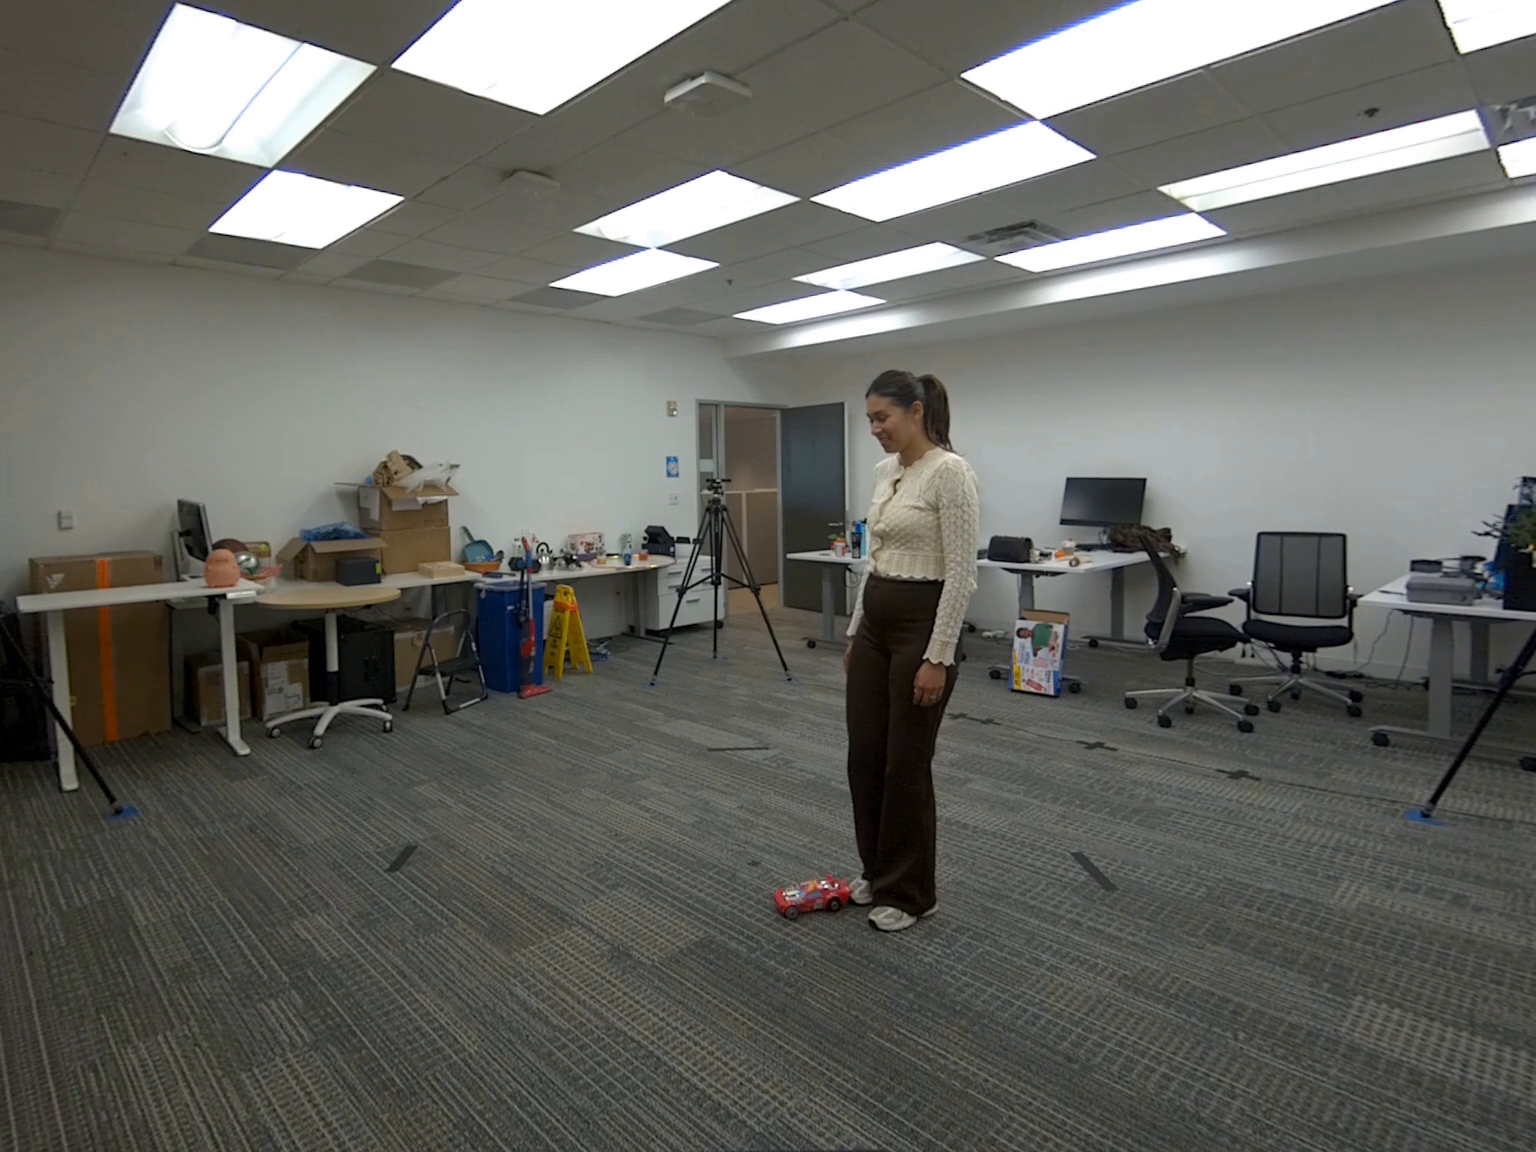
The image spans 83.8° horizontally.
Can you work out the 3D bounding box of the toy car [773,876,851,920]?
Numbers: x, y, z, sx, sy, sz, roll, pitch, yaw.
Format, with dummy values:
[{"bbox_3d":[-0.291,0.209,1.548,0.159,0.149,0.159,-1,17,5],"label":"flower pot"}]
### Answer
[{"bbox_3d":[0.151,1.047,2.779,0.252,0.082,0.133,-15,9,-14],"label":"toy car"}]
